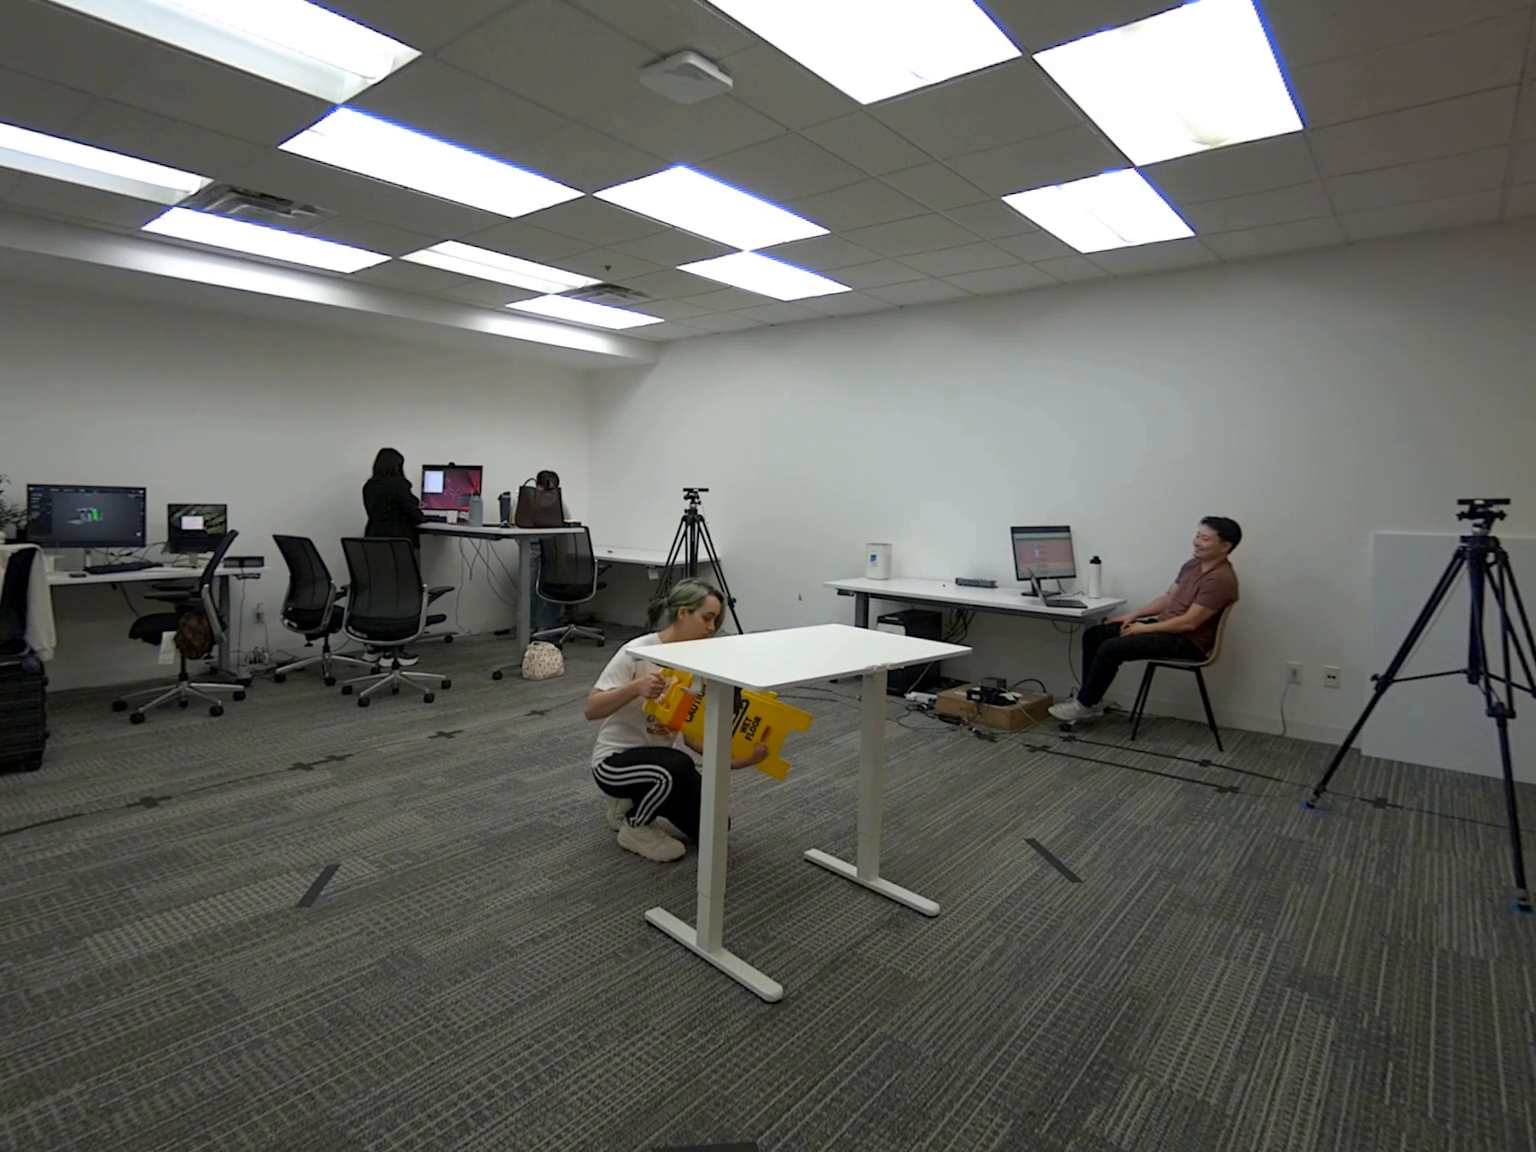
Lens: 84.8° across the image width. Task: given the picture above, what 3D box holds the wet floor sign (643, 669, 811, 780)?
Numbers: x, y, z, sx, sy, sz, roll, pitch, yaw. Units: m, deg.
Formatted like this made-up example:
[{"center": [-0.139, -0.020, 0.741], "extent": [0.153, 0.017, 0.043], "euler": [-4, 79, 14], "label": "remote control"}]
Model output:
[{"center": [-0.194, 0.515, 3.224], "extent": [0.622, 0.282, 0.301], "euler": [28, -2, -34], "label": "wet floor sign"}]
